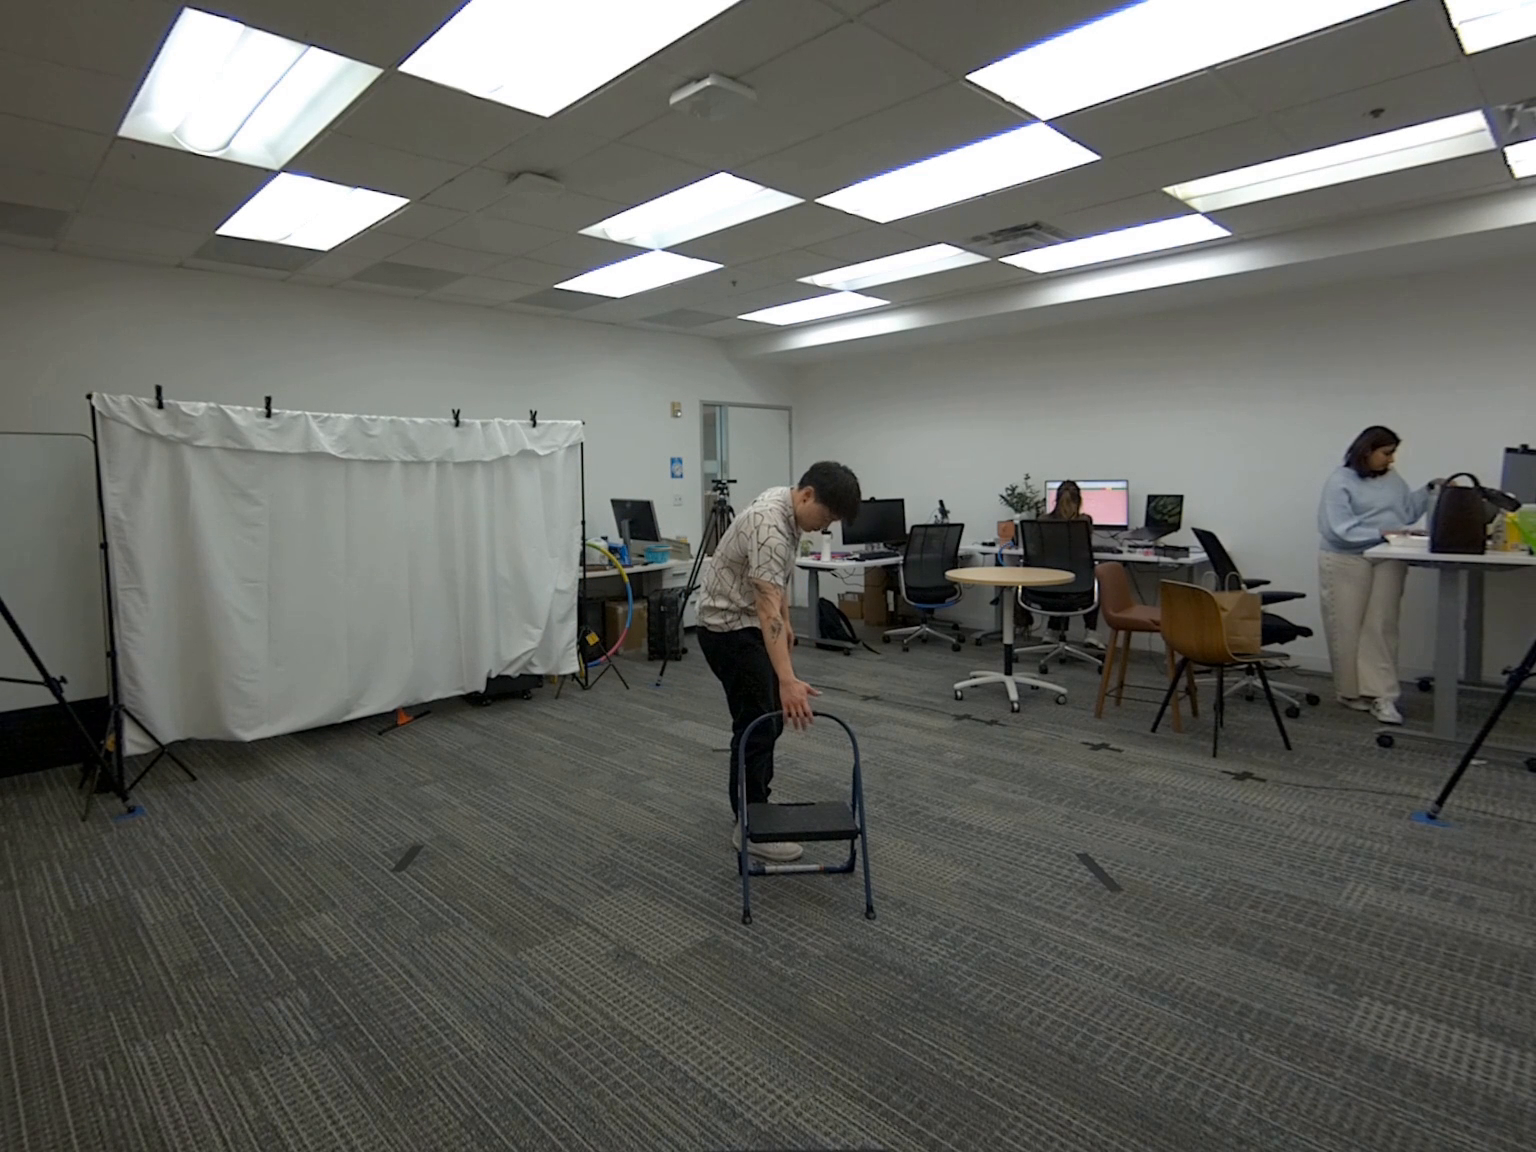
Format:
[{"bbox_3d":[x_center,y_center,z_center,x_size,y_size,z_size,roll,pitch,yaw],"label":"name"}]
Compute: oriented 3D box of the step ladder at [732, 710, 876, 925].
[{"bbox_3d":[0.118,0.779,2.854,0.429,0.603,0.353,-1,6,-5],"label":"step ladder"}]
